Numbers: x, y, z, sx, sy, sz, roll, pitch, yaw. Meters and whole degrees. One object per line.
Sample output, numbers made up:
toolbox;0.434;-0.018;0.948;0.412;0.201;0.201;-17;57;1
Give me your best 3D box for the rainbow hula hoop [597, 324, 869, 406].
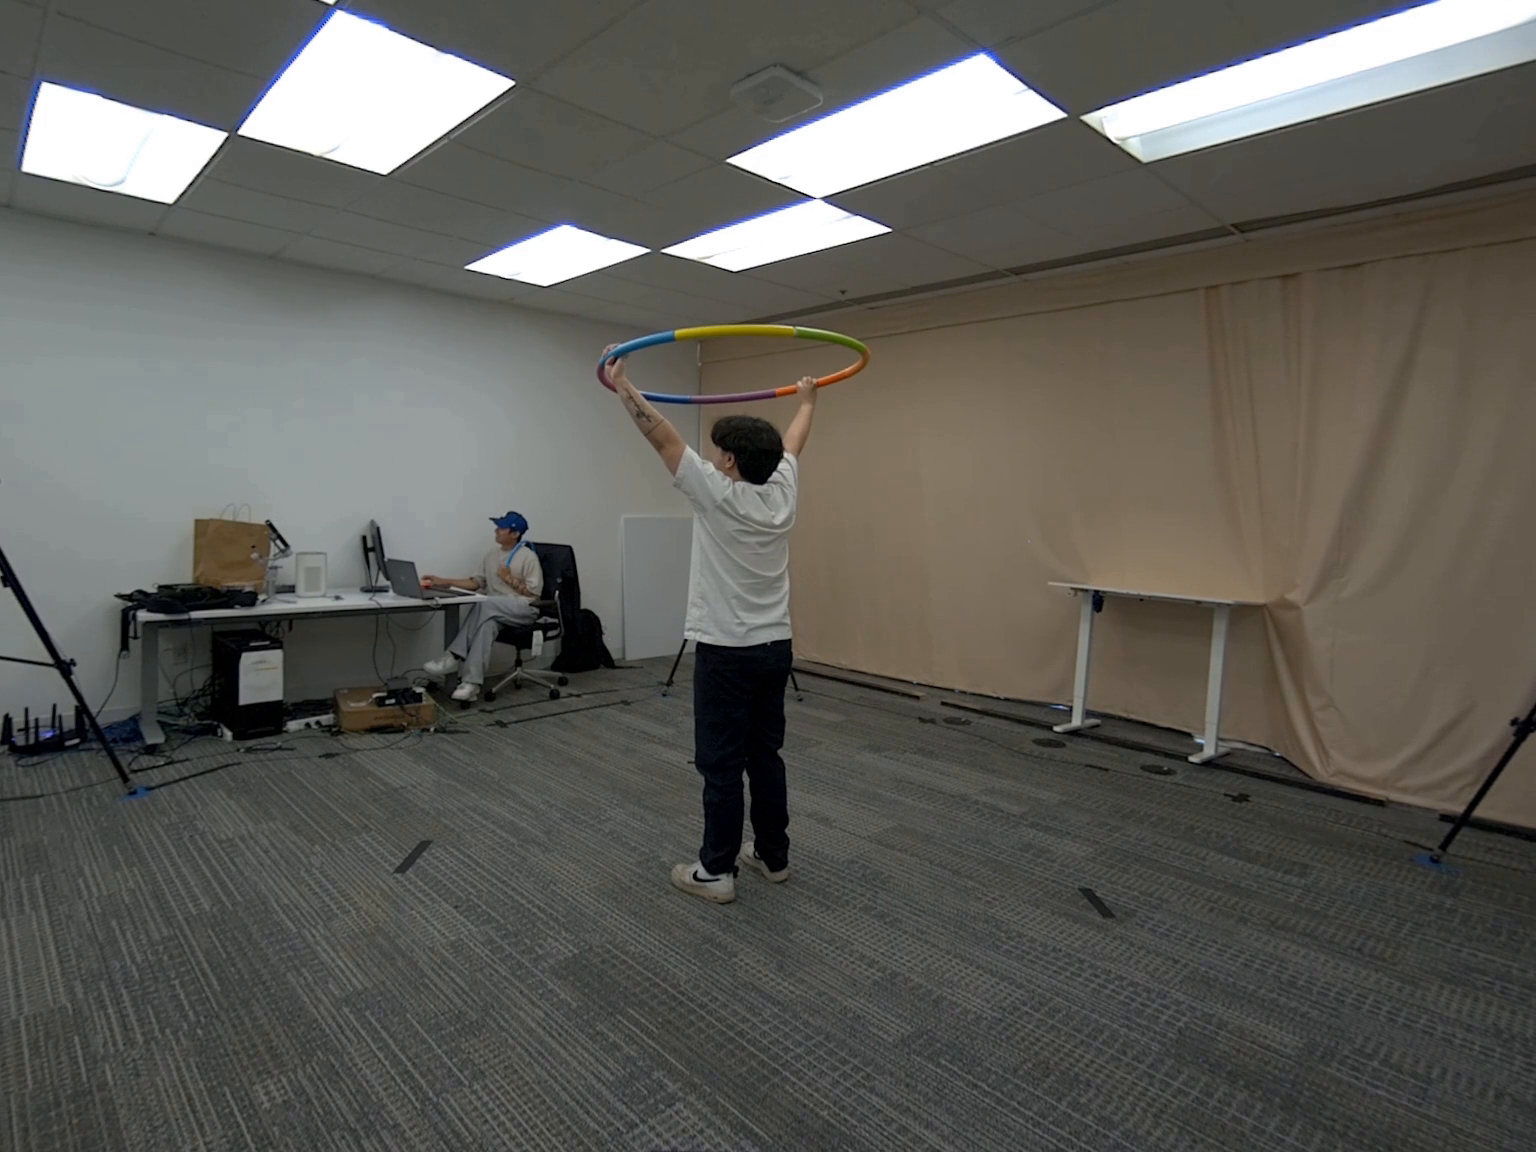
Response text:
rainbow hula hoop;-0.122;-0.752;3.035;0.985;0.052;0.984;-4;0;-1
